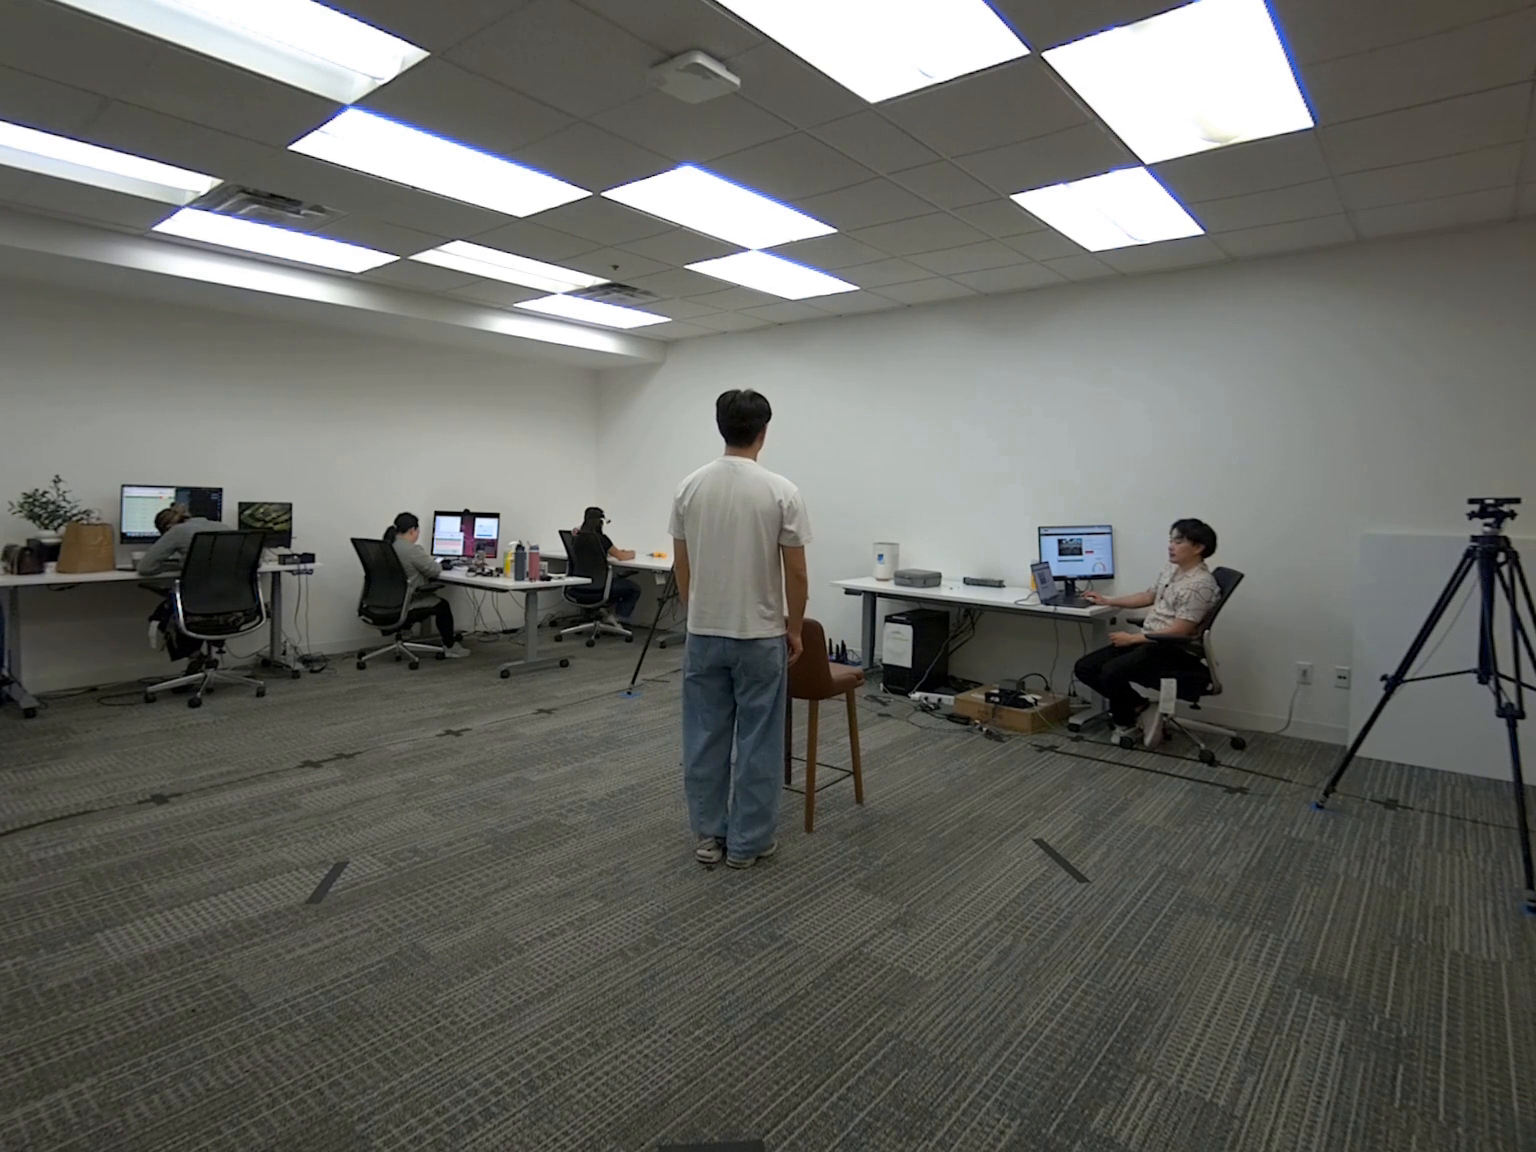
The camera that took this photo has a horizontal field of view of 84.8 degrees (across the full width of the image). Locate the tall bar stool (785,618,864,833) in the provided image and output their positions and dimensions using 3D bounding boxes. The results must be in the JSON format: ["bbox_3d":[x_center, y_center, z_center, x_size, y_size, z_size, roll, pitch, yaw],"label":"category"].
[{"bbox_3d":[0.130,0.574,3.712,0.471,0.886,0.455,3,6,36],"label":"tall bar stool"}]
